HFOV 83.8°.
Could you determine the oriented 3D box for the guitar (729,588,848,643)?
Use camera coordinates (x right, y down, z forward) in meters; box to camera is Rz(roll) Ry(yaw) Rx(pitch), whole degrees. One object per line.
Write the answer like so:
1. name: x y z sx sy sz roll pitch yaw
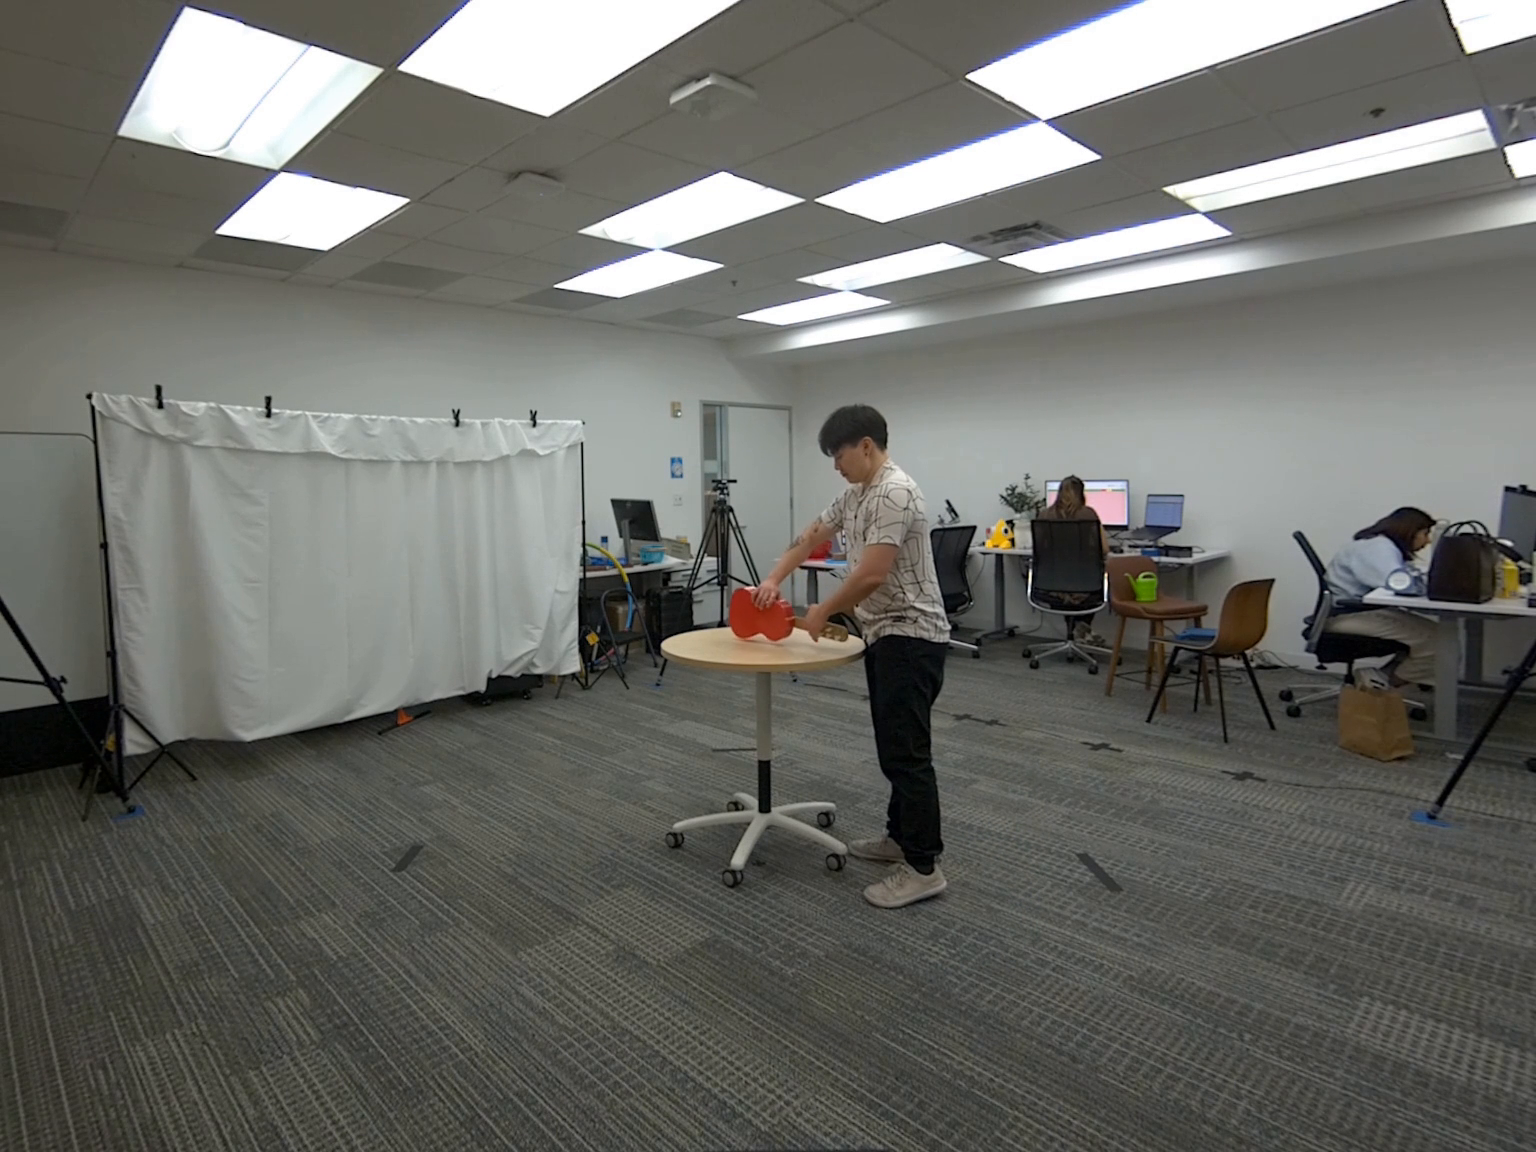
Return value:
1. guitar: 0.069 0.137 3.132 0.512 0.192 0.069 2 6 41
